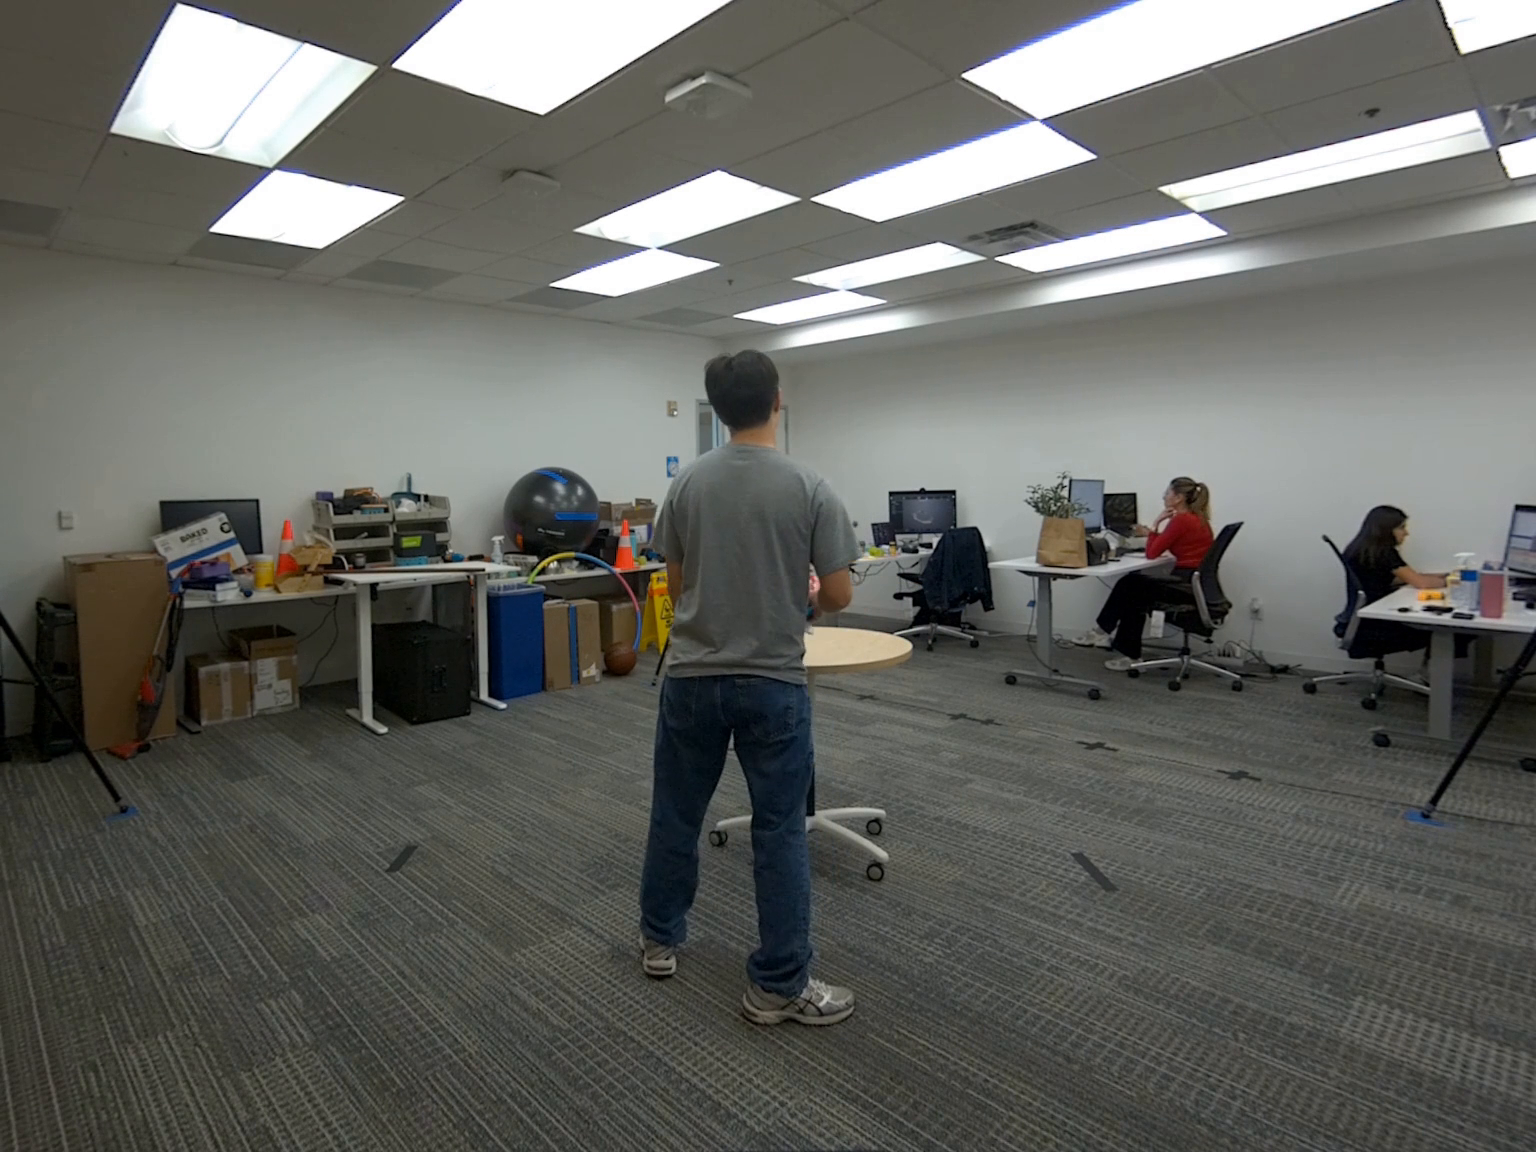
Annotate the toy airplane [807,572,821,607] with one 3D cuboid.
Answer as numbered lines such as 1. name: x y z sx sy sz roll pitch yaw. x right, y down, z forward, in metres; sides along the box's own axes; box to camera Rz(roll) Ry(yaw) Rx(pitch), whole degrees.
1. toy airplane: 0.097 0.083 2.603 0.242 0.156 0.269 16 25 -48
